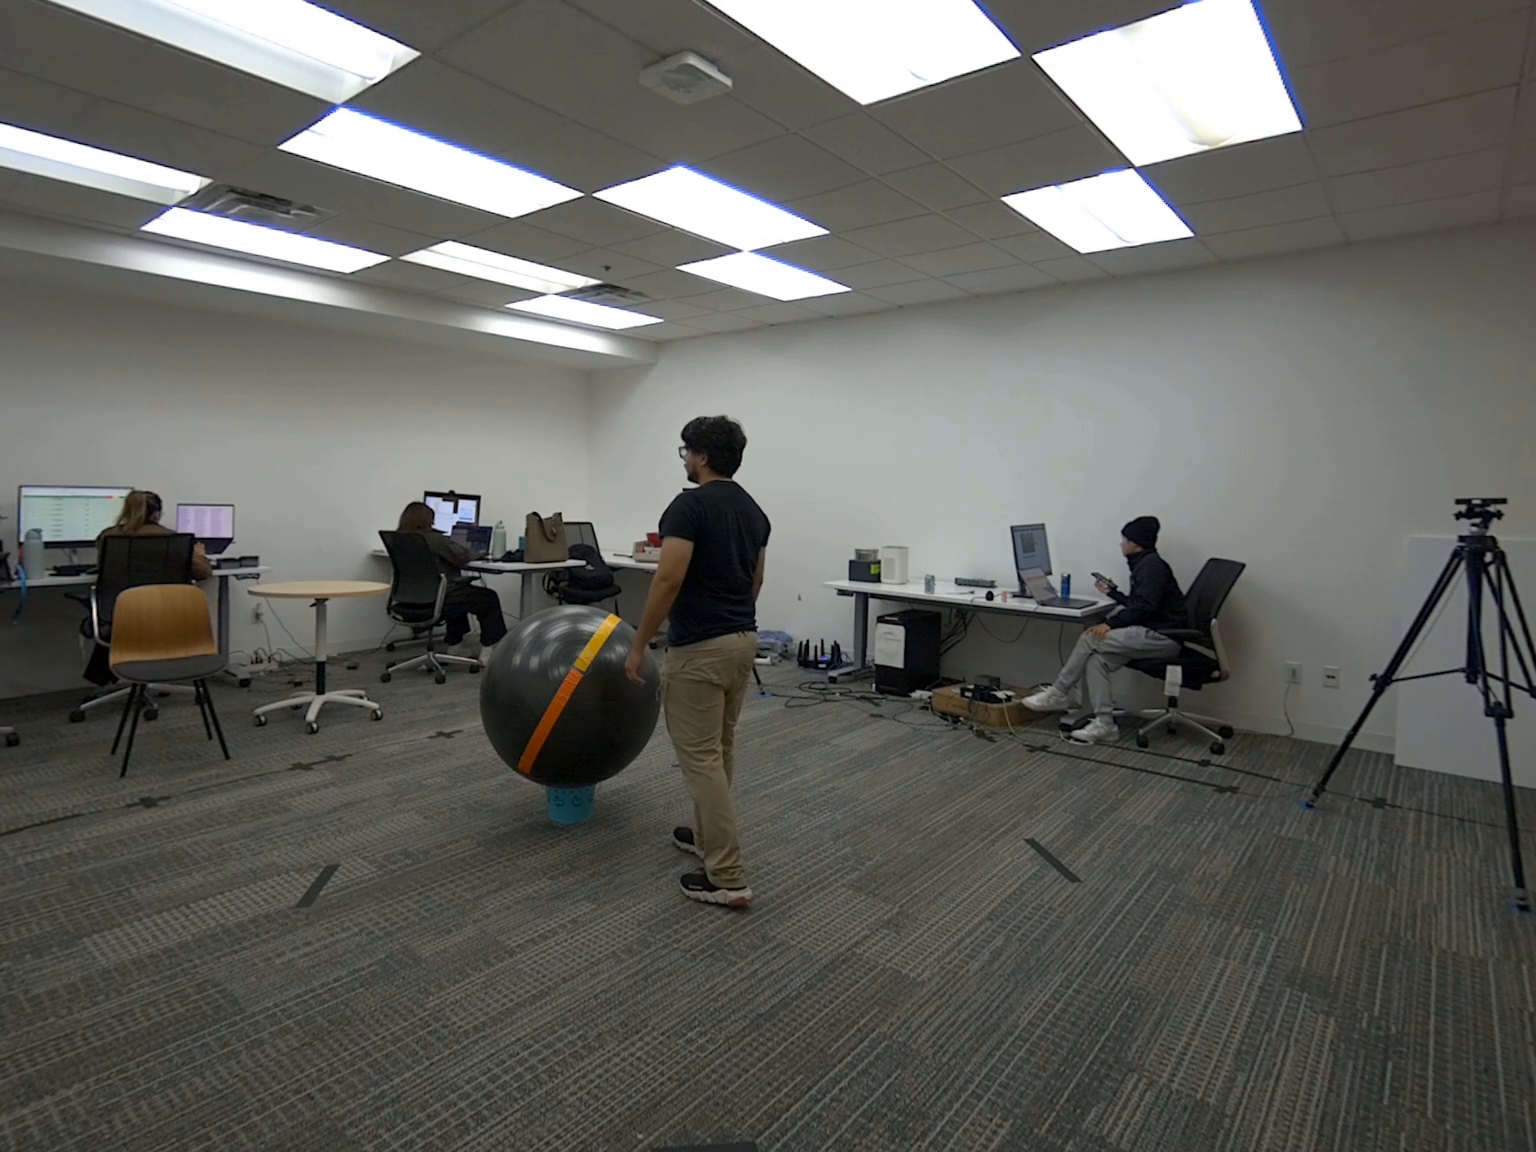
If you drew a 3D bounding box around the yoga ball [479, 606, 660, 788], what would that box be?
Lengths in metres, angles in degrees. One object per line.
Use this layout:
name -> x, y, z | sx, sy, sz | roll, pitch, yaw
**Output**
yoga ball -> -0.838, 0.504, 3.591 | 0.757, 0.756, 0.762 | 1, 4, -2
